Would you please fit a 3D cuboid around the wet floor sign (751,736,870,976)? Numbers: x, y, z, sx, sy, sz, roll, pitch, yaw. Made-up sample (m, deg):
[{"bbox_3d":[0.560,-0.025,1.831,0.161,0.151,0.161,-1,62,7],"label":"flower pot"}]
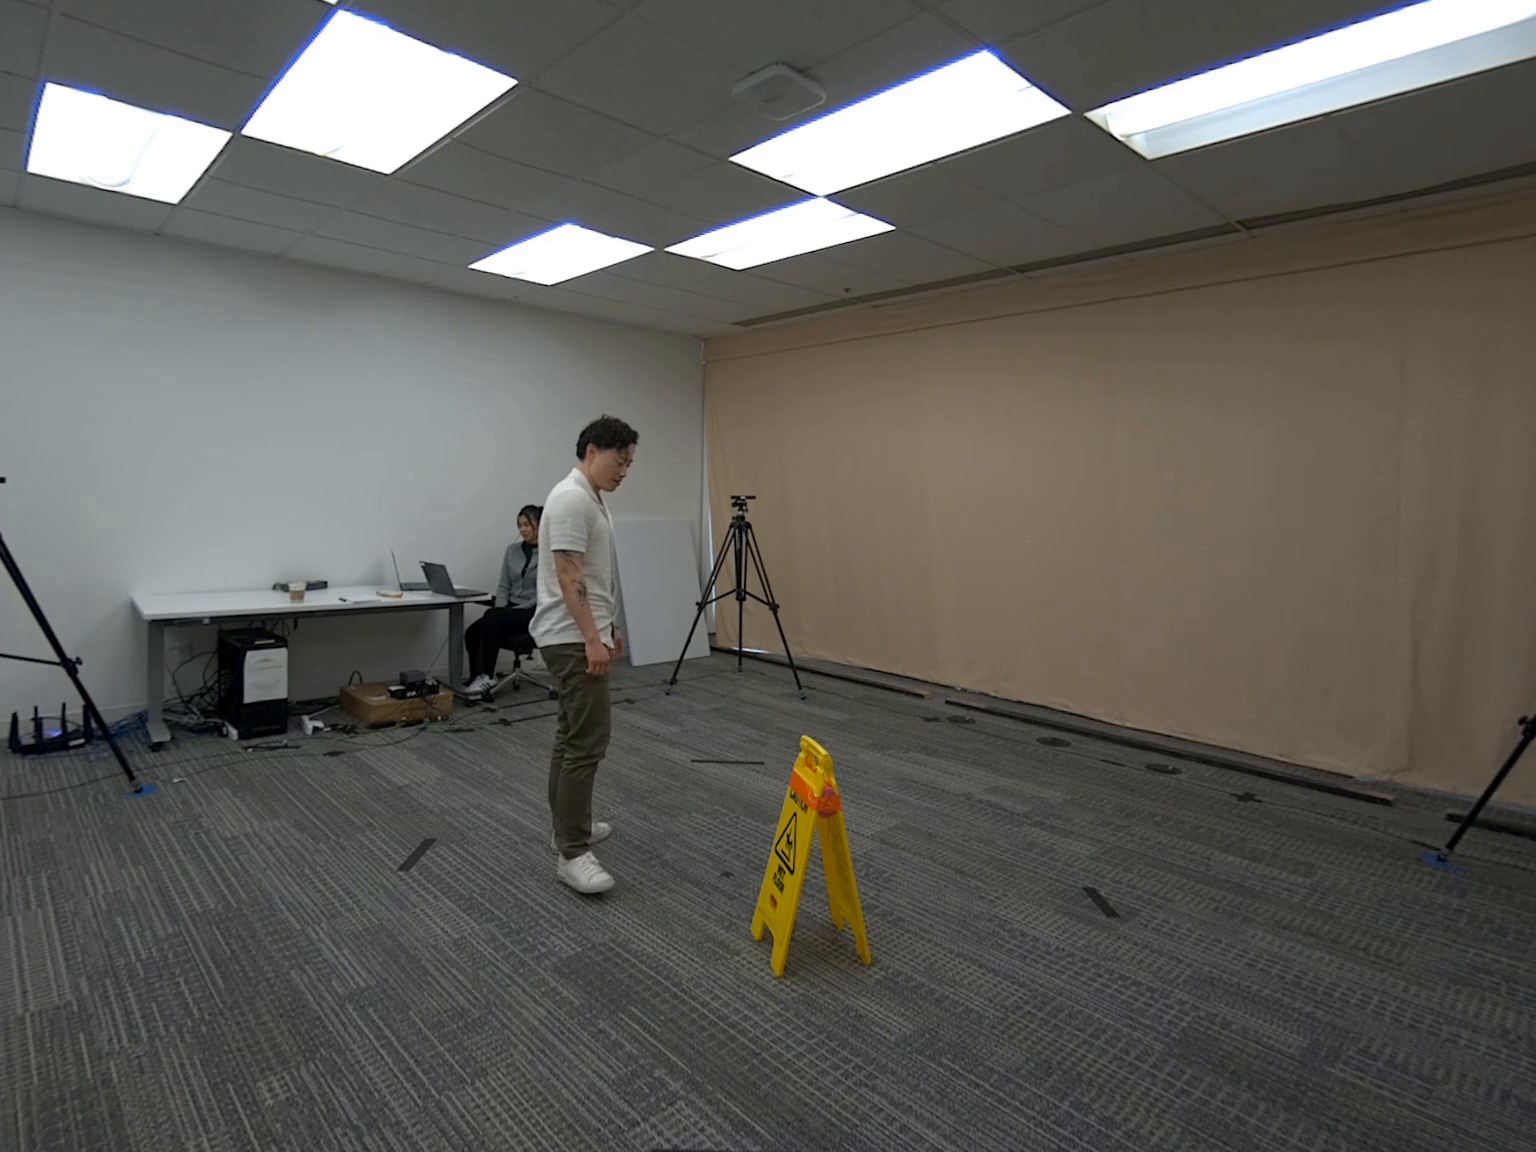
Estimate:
[{"bbox_3d":[0.135,0.832,2.592,0.286,0.644,0.287,1,5,-17],"label":"wet floor sign"}]
